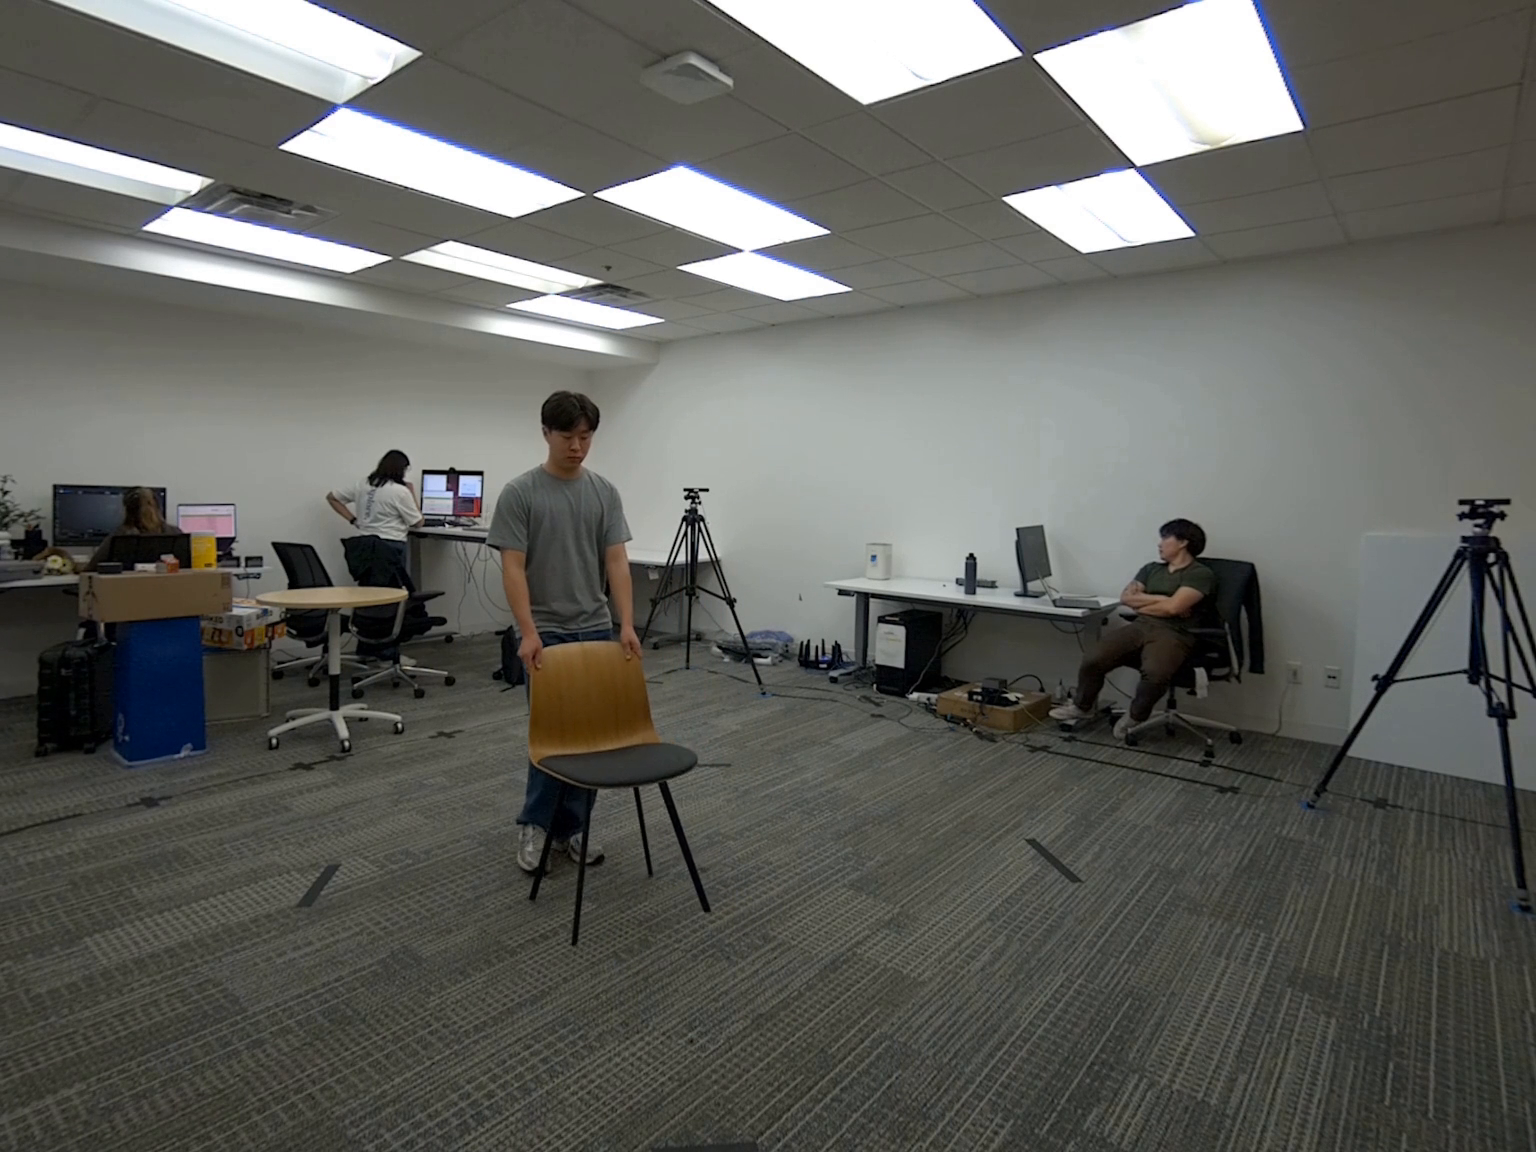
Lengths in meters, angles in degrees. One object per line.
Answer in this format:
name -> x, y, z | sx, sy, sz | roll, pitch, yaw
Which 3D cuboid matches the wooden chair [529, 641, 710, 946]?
wooden chair -> -0.516, 0.647, 2.774 | 0.465, 0.884, 0.533 | -1, -8, -31
